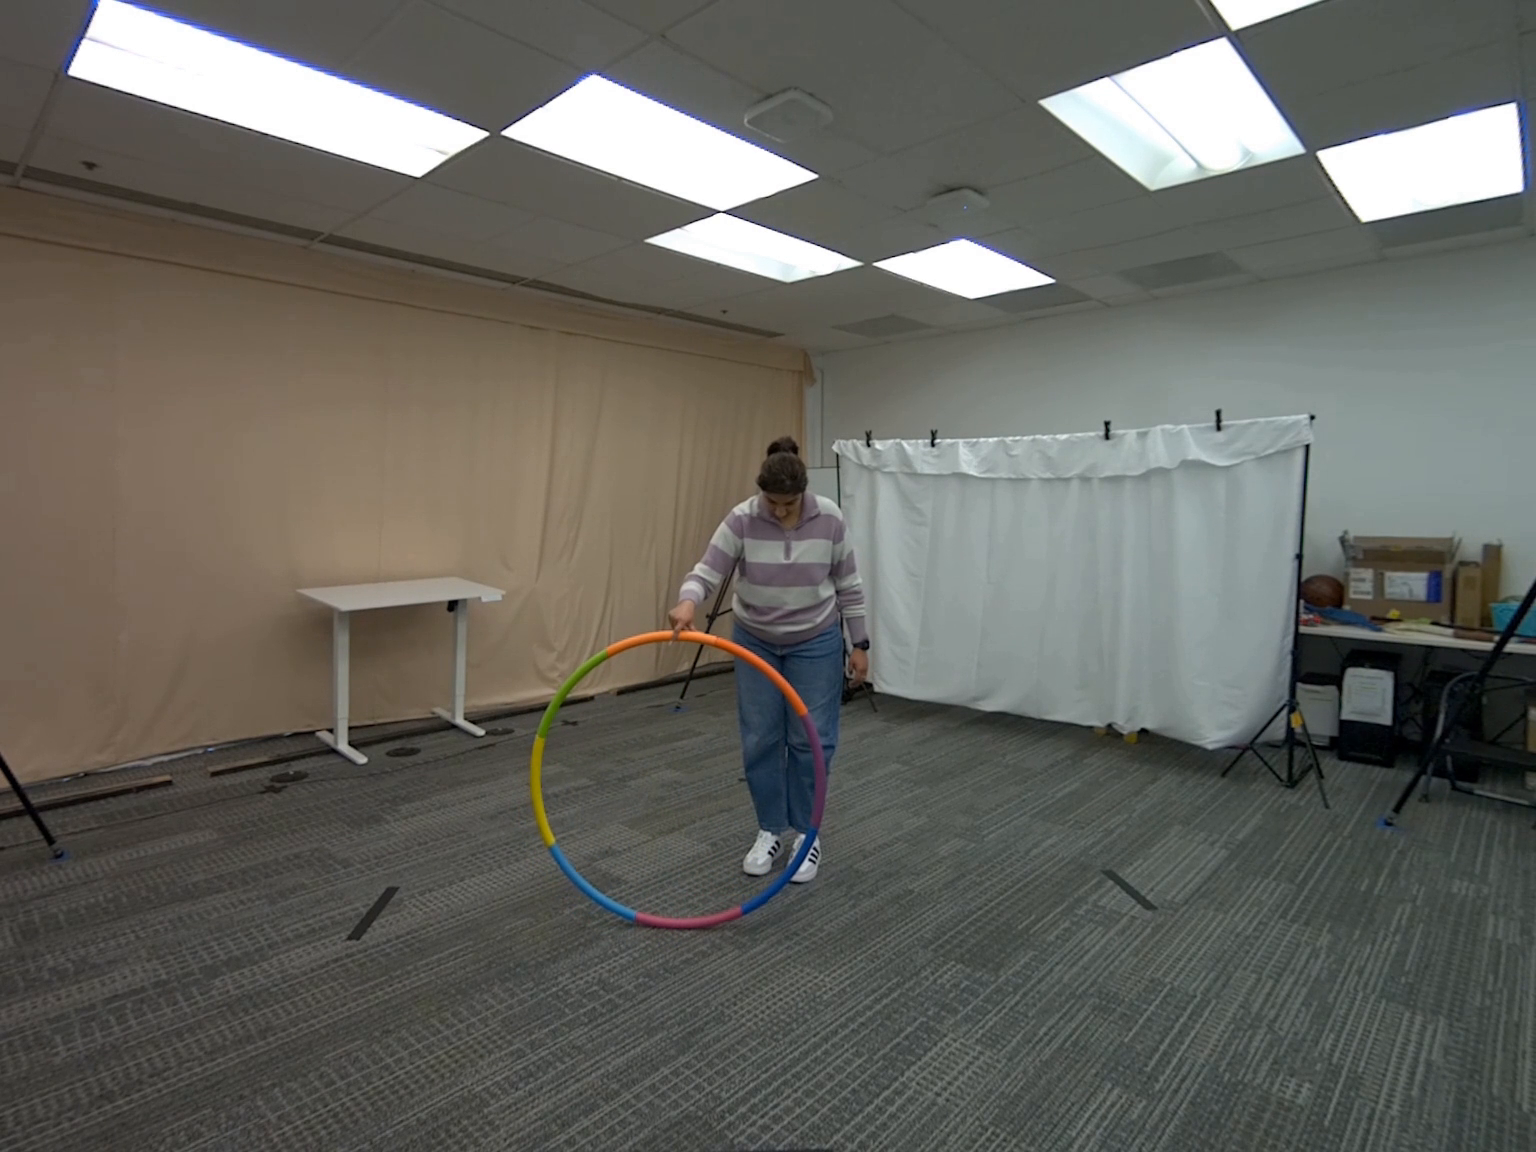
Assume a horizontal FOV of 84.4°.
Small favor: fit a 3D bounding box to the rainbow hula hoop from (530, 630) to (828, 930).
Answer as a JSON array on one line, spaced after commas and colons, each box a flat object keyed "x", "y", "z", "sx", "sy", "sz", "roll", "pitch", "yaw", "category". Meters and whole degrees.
[{"x": -0.313, "y": 0.674, "z": 2.783, "sx": 0.986, "sy": 0.979, "sz": 0.035, "roll": 0, "pitch": -1, "yaw": 7, "category": "rainbow hula hoop"}]
